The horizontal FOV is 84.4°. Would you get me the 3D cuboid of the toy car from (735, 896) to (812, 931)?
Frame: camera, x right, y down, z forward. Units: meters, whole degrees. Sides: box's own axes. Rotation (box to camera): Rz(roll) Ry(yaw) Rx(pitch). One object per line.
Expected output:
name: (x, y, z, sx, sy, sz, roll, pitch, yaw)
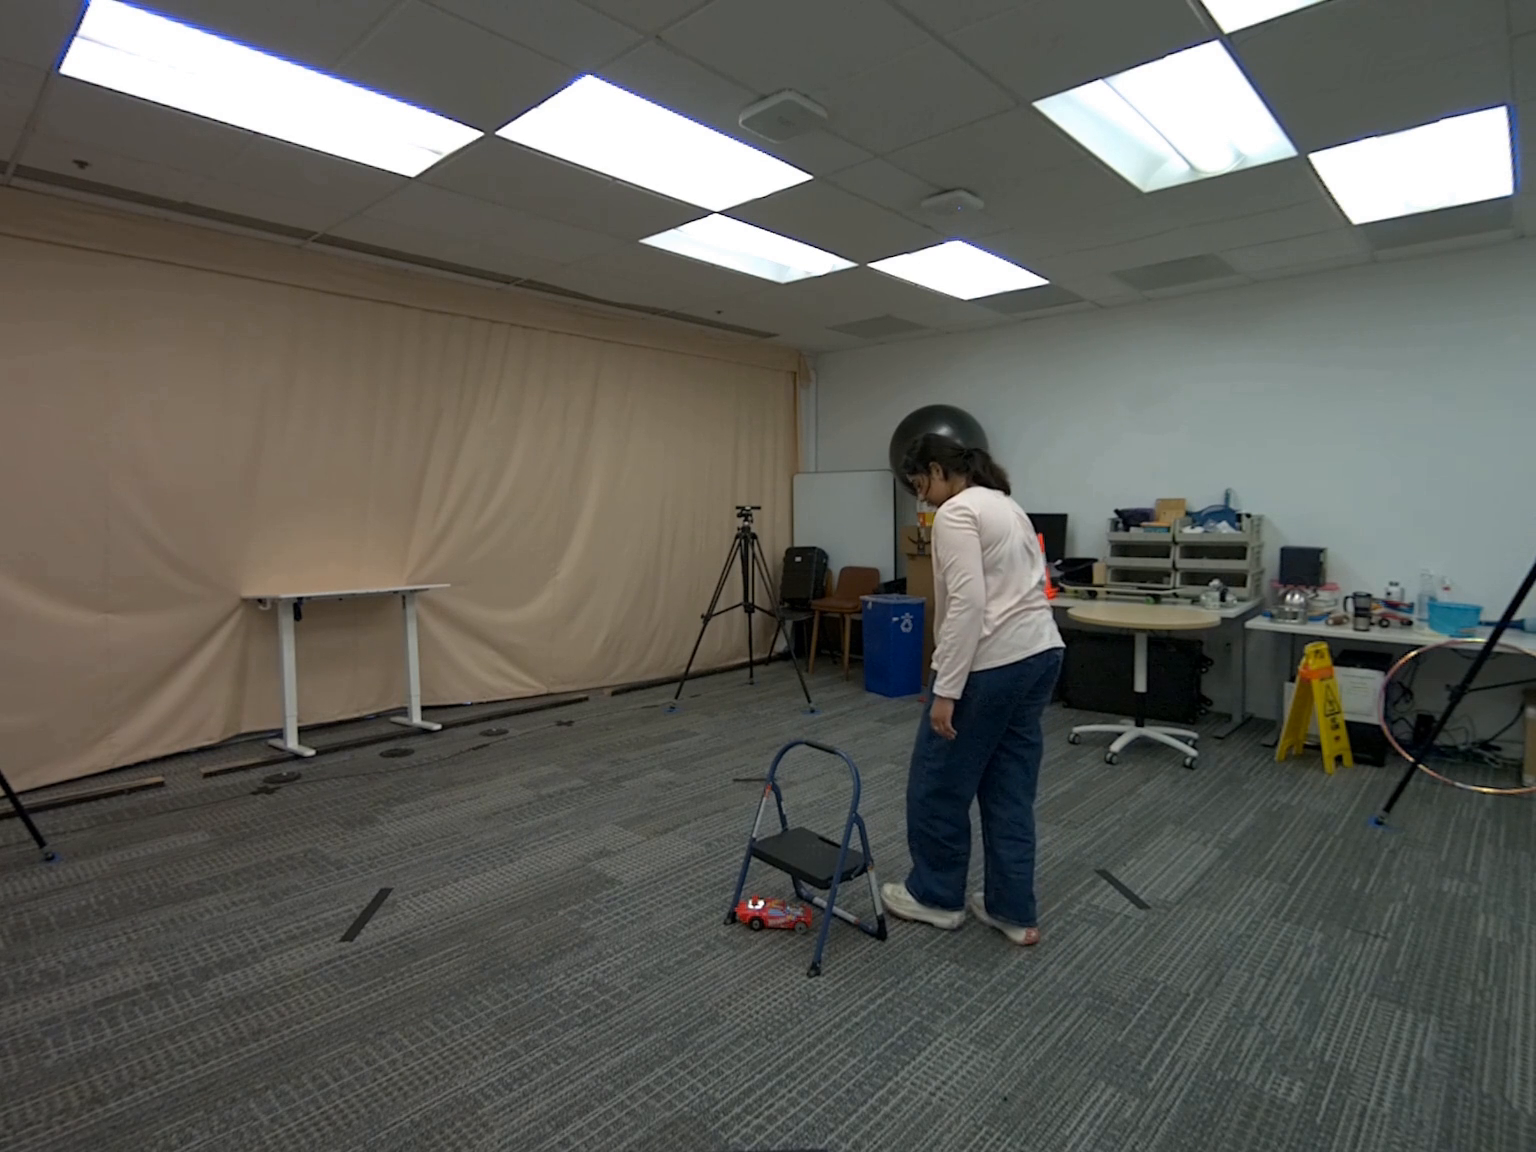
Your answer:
toy car: (0.022, 1.134, 2.801, 0.257, 0.083, 0.129, 12, 5, 6)
